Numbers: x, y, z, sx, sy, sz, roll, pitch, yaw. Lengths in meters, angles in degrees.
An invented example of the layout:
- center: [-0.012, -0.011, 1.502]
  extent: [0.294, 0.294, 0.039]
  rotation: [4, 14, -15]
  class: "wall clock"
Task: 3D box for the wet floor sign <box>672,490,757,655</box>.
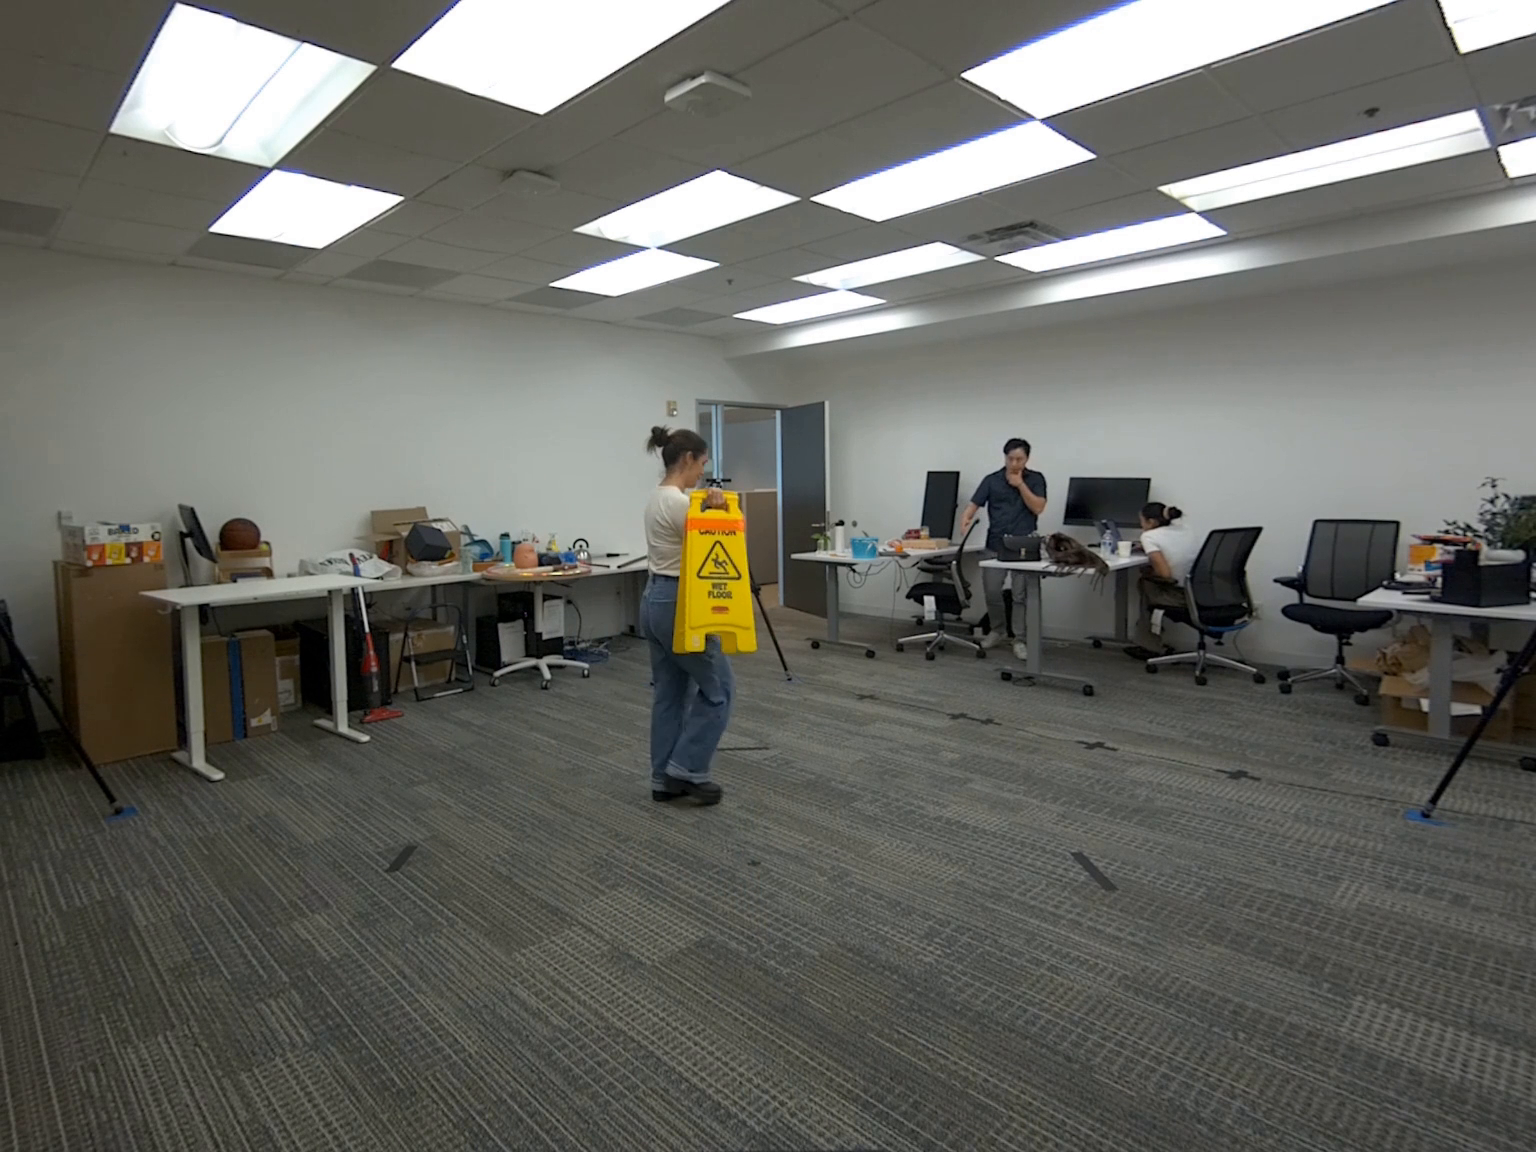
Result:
- center: [-0.215, -0.021, 3.412]
  extent: [0.278, 0.651, 0.291]
  rotation: [2, -9, -14]
  class: "wet floor sign"
